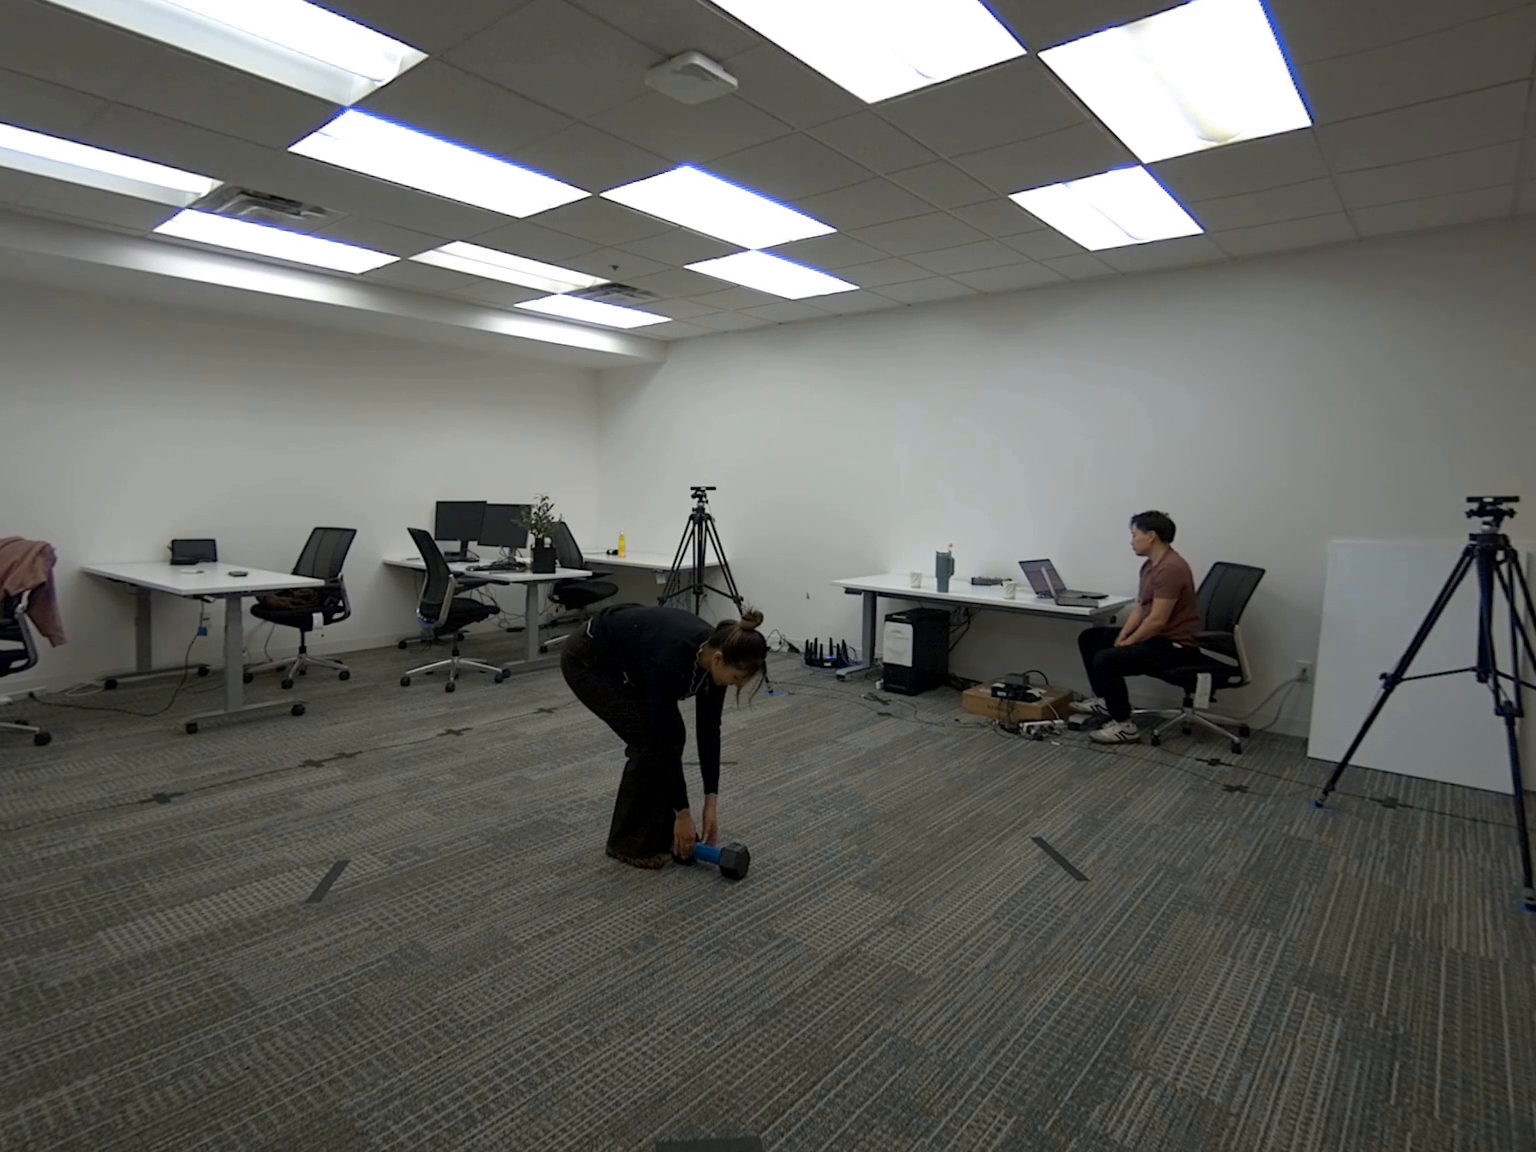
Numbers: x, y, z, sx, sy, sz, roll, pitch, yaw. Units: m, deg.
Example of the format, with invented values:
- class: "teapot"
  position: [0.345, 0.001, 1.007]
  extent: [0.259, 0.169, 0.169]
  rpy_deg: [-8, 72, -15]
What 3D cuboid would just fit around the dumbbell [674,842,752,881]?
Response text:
- class: "dumbbell"
  position: [-0.220, 1.015, 3.104]
  extent: [0.302, 0.124, 0.104]
  rpy_deg: [2, -24, 30]
